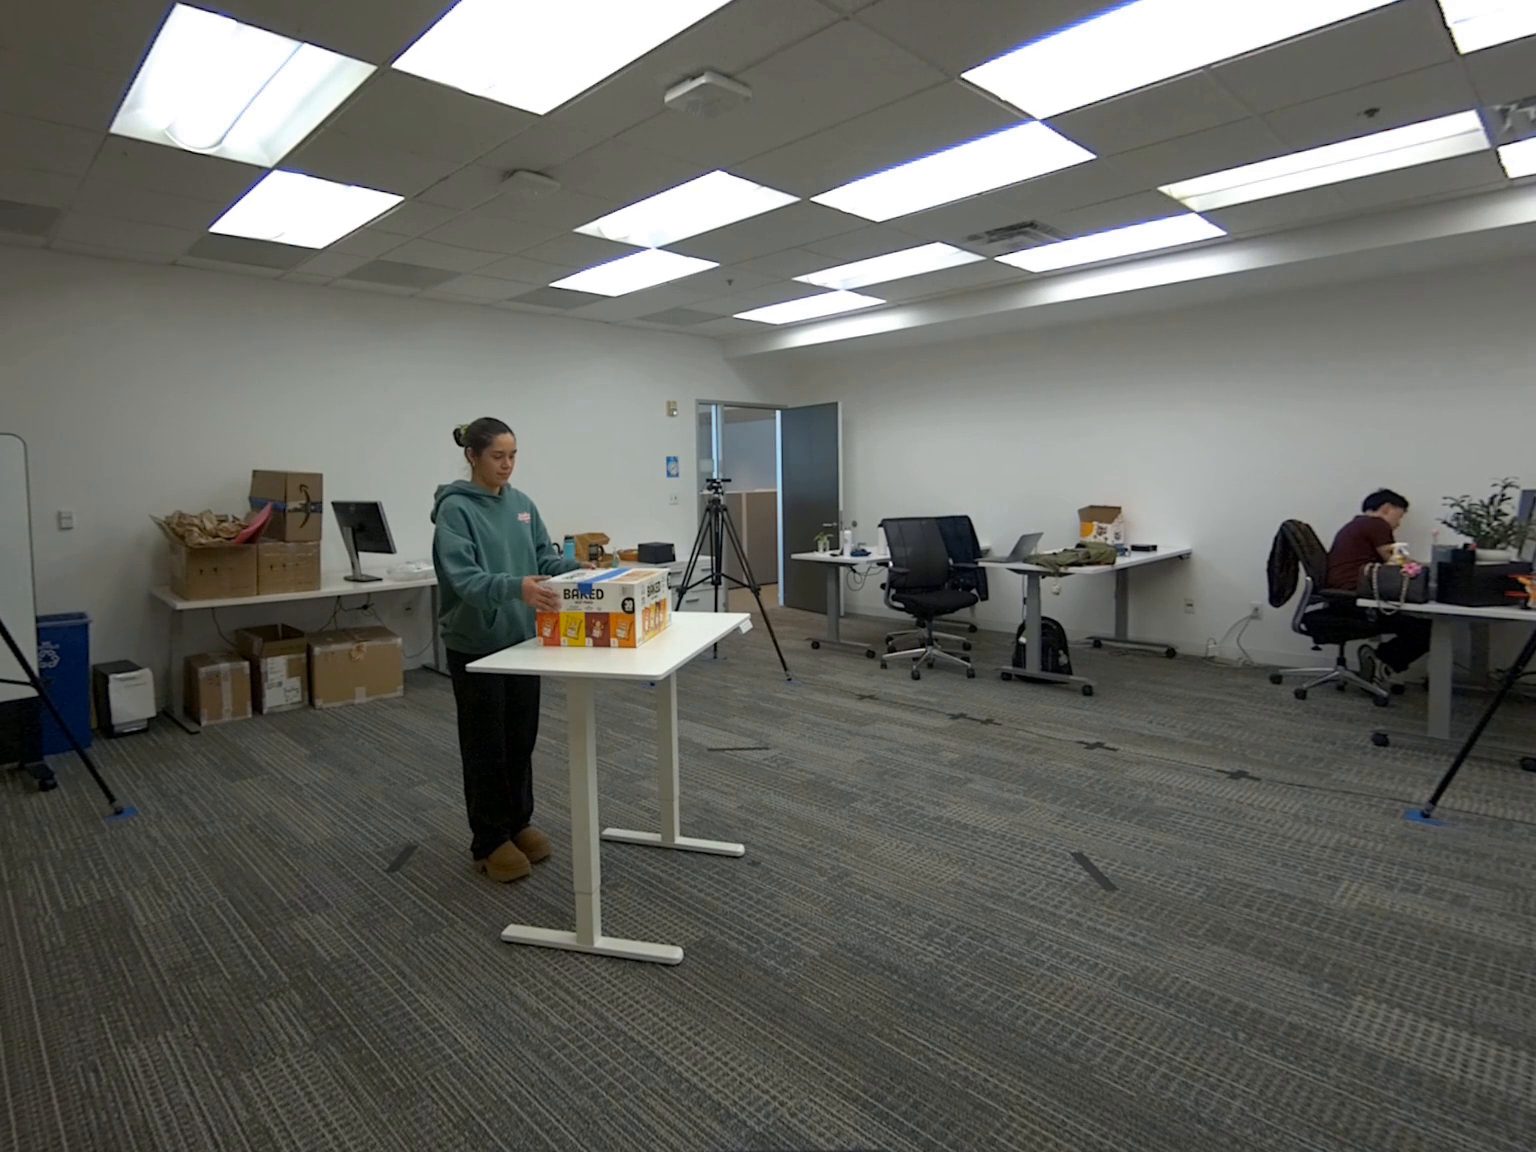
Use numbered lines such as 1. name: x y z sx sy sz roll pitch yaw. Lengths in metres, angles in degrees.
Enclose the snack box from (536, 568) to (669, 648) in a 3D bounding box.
1. snack box: -0.542 0.098 2.877 0.344 0.205 0.402 0 7 12
